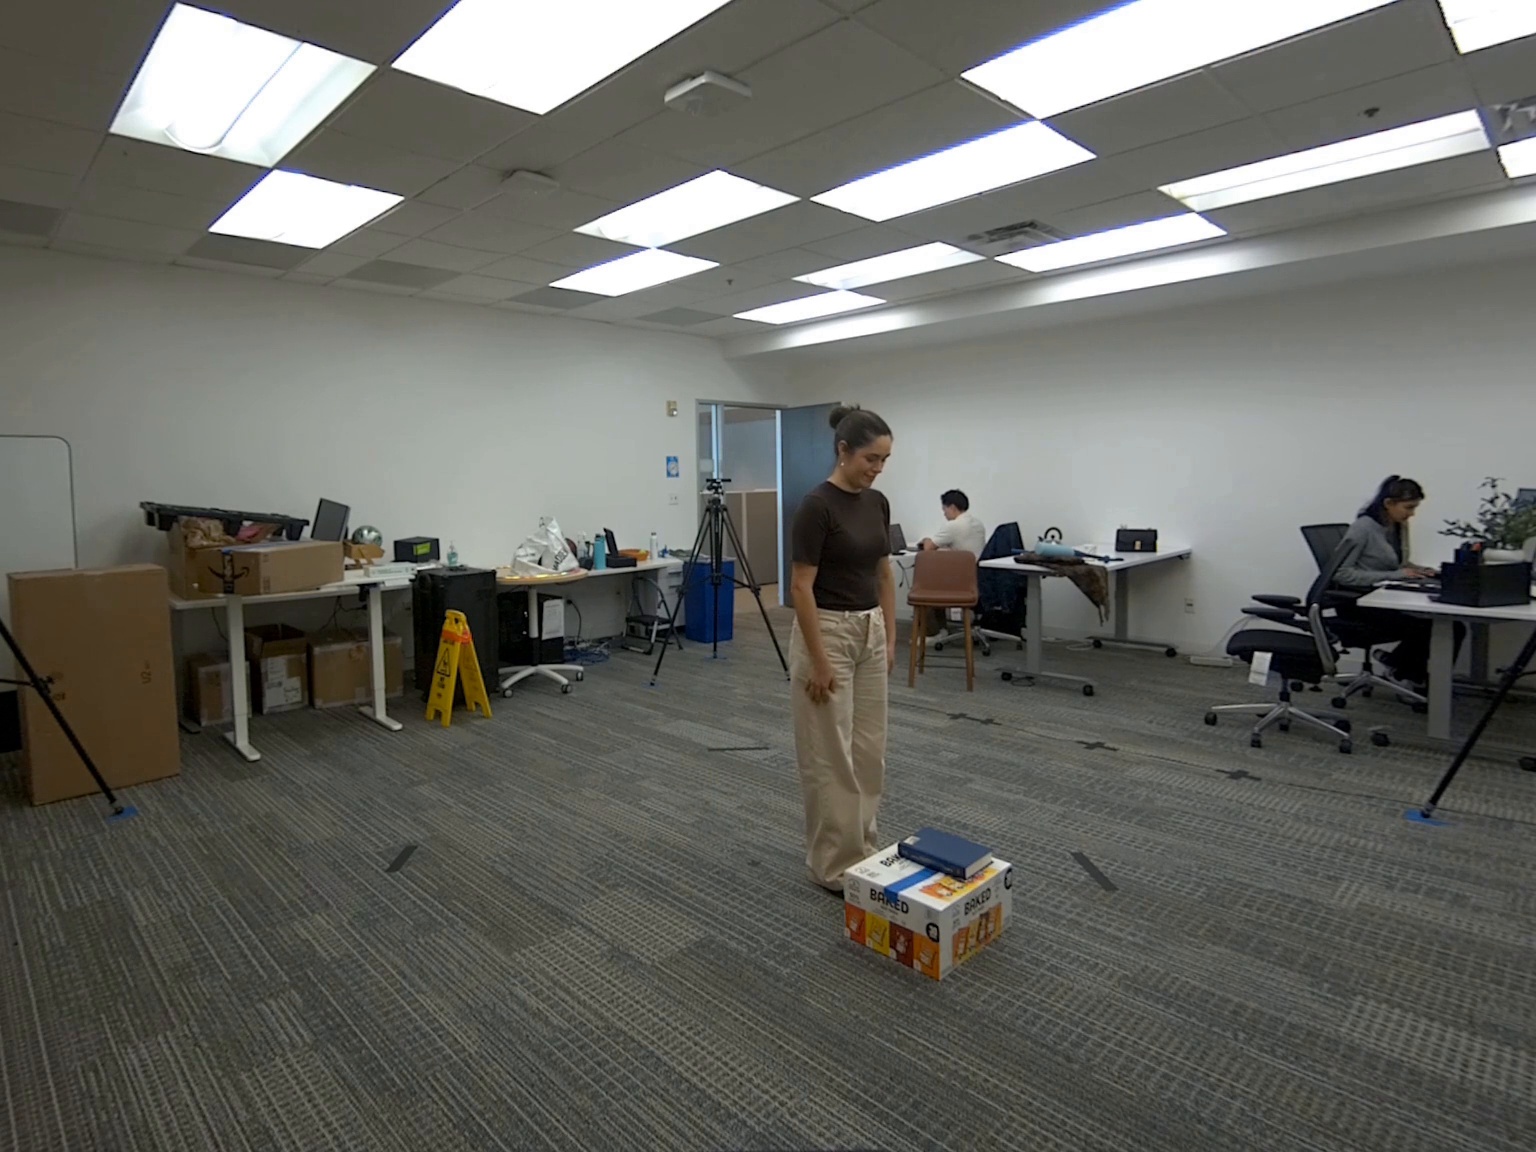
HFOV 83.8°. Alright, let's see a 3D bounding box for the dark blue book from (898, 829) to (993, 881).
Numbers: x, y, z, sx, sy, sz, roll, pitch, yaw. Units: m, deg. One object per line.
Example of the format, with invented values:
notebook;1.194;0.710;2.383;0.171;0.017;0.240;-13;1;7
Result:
dark blue book;0.556;0.862;2.669;0.159;0.045;0.253;-11;11;-44
